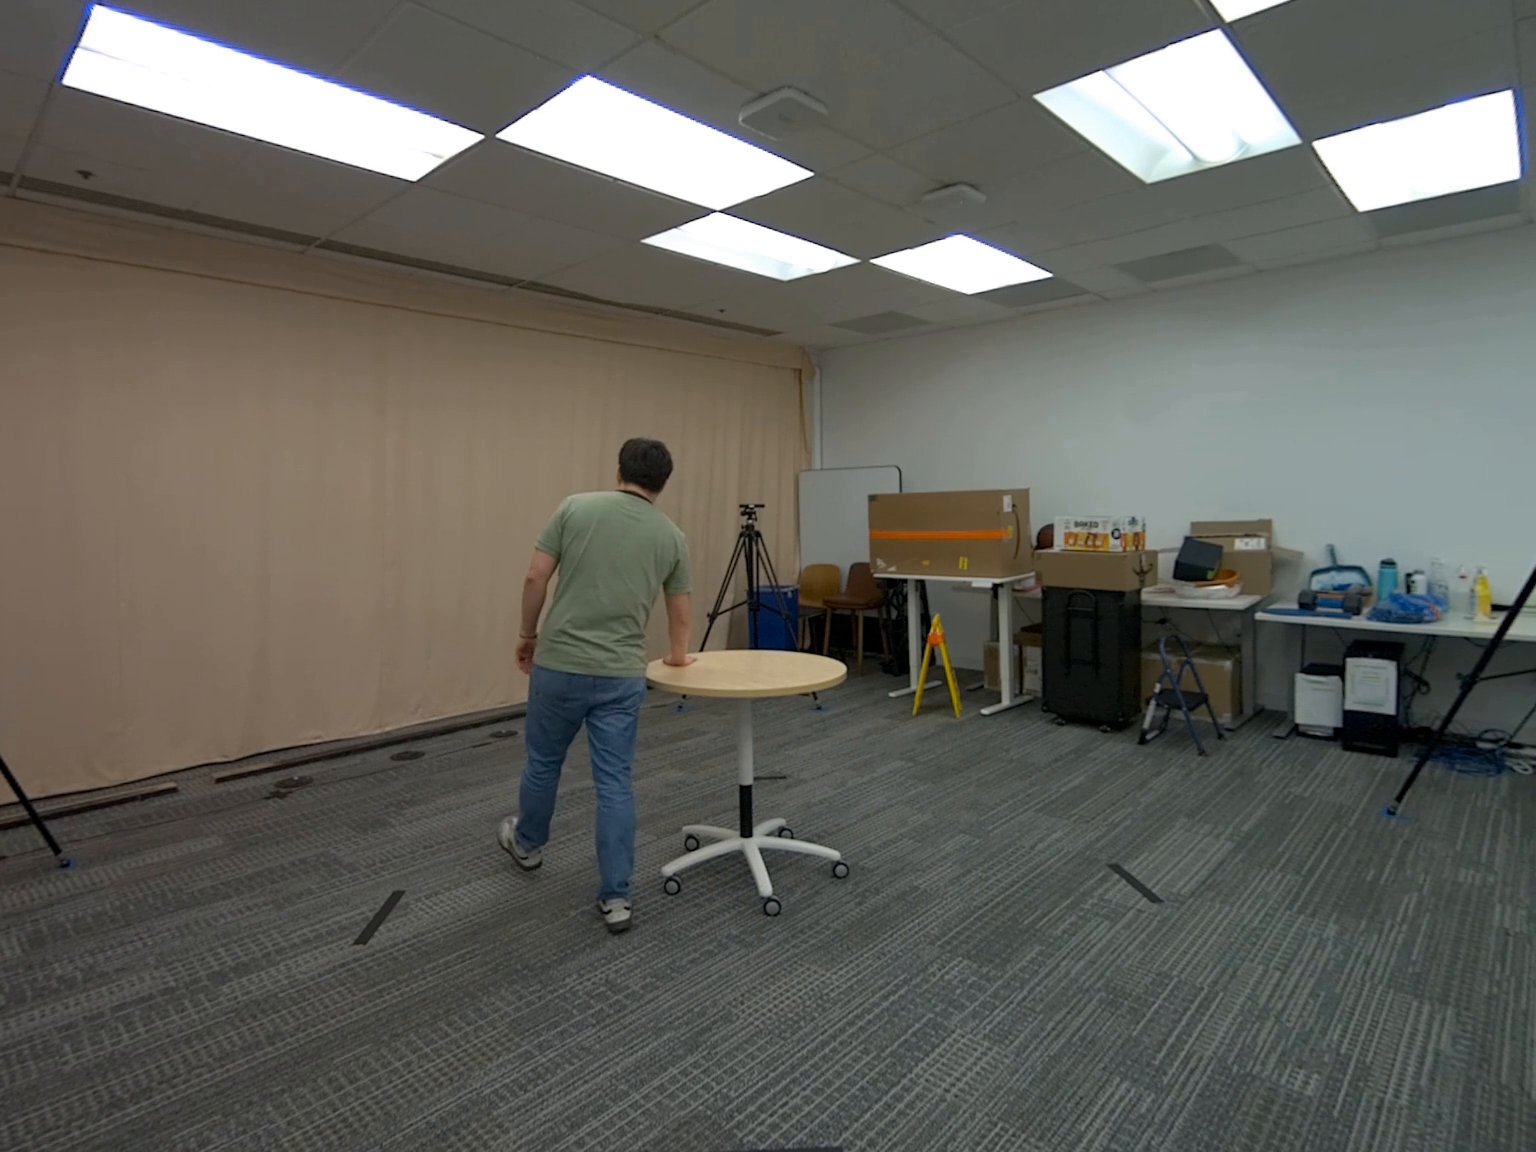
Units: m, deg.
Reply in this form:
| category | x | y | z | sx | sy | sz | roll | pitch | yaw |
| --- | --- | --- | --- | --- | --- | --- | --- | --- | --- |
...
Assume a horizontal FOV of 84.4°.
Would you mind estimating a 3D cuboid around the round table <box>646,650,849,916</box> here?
| category | x | y | z | sx | sy | sz | roll | pitch | yaw |
| --- | --- | --- | --- | --- | --- | --- | --- | --- | --- |
| round table | -0.082 | 0.736 | 3.174 | 0.763 | 0.792 | 0.766 | -1 | 4 | -2 |
